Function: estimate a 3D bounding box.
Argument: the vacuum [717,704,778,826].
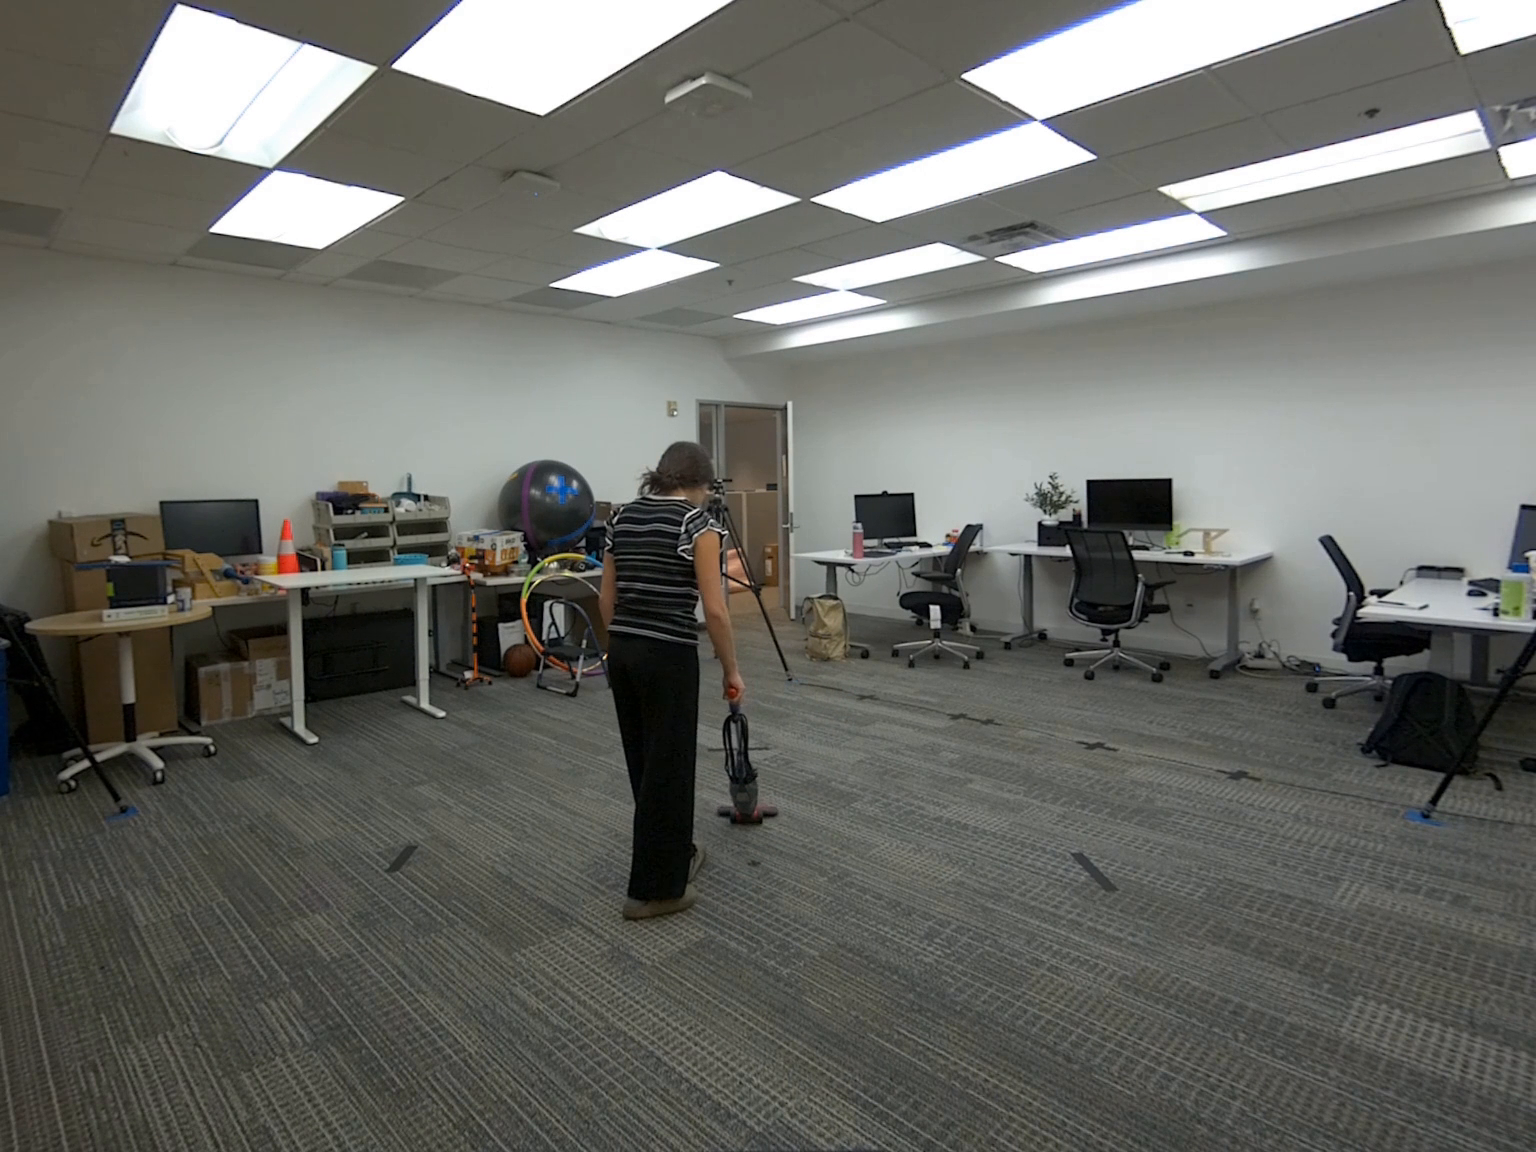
[{"bbox_3d":[-0.102,0.680,3.129,0.254,0.147,1.019,2,-37,4],"label":"vacuum"}]
